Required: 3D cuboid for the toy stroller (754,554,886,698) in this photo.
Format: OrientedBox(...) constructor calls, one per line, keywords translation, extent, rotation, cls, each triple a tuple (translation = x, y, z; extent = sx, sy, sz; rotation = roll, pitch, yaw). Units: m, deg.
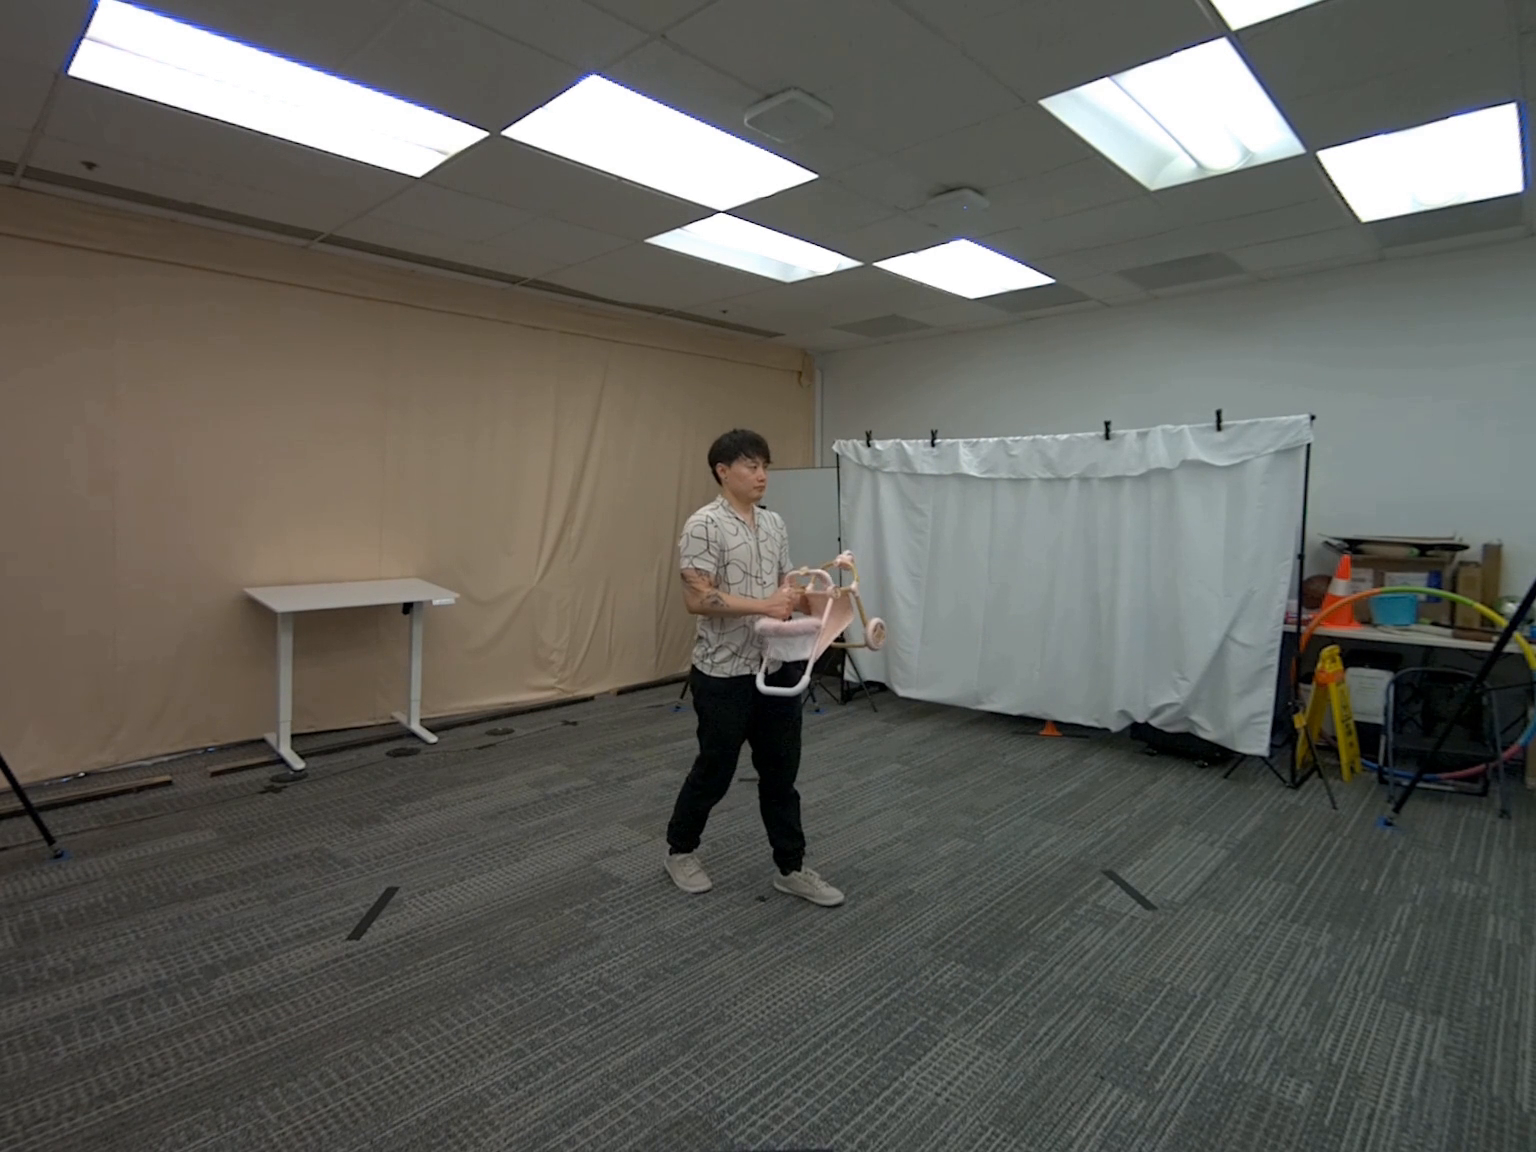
OrientedBox(translation=(0.160, 0.142, 2.768), extent=(0.291, 0.338, 0.523), rotation=(2, 17, 42), cls="toy stroller")
